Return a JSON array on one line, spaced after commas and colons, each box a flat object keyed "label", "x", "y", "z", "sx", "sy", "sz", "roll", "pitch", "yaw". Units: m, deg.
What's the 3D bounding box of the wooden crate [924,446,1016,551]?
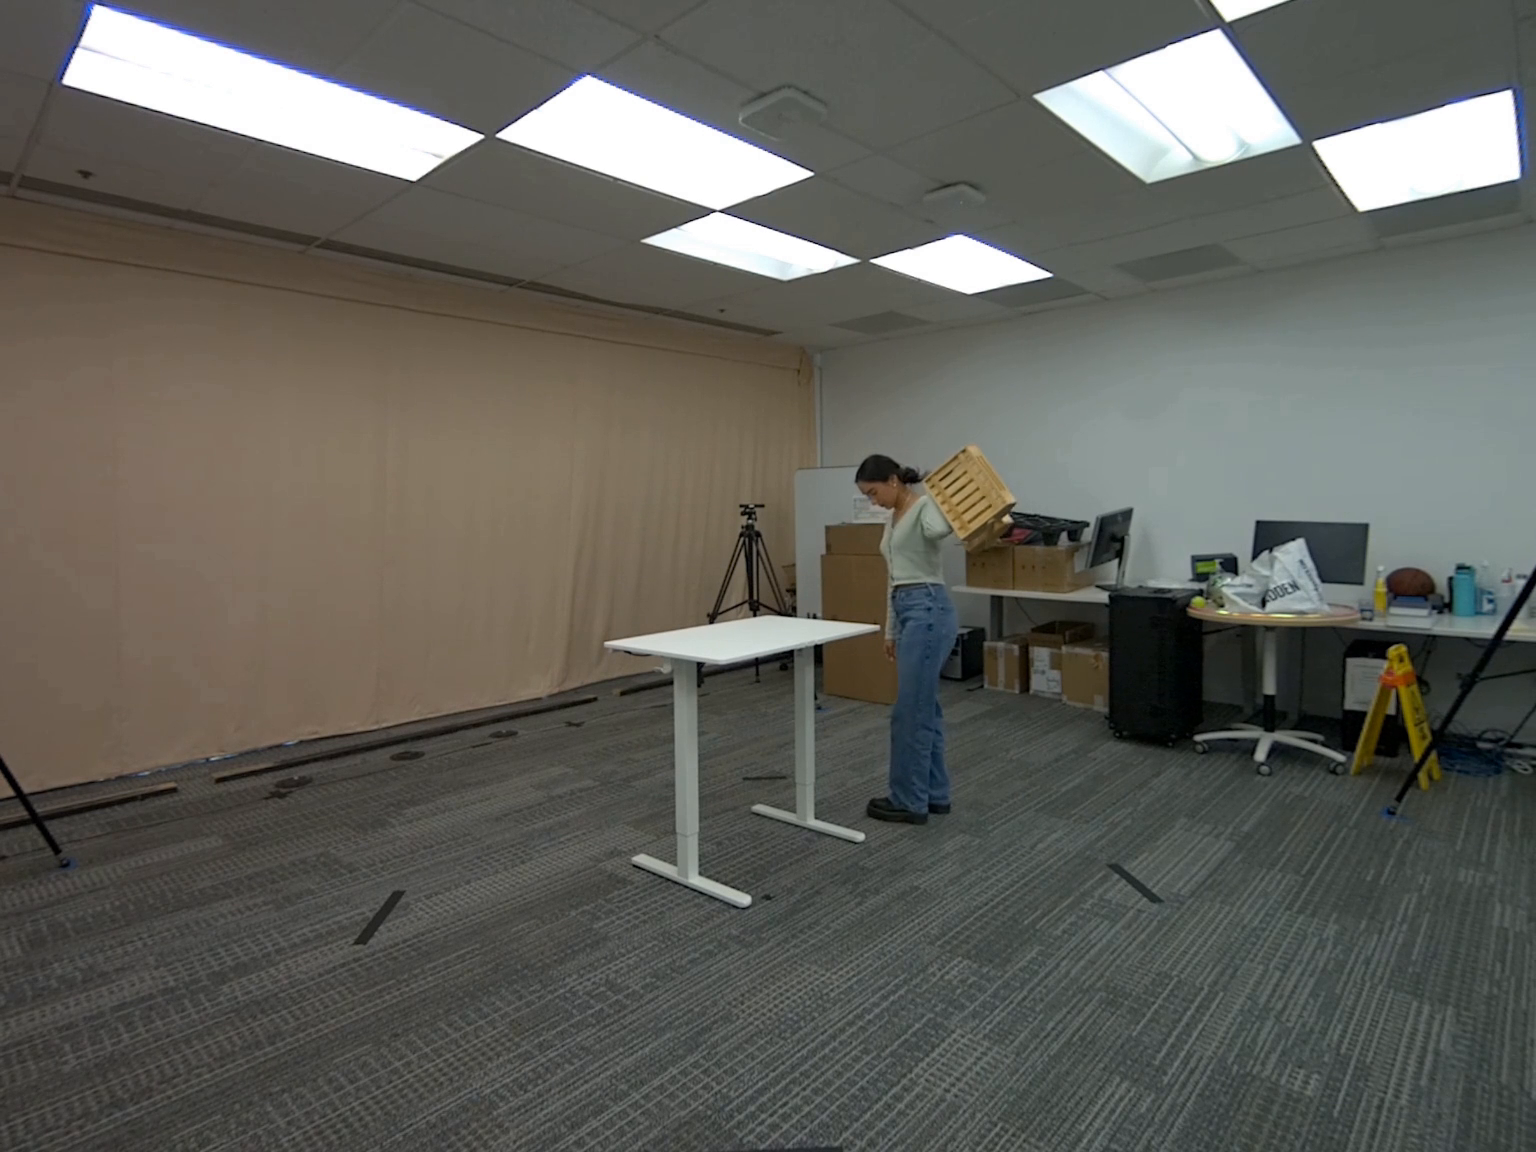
[{"label": "wooden crate", "x": 0.838, "y": -0.308, "z": 3.420, "sx": 0.305, "sy": 0.332, "sz": 0.264, "roll": -40, "pitch": -28, "yaw": 26}]
